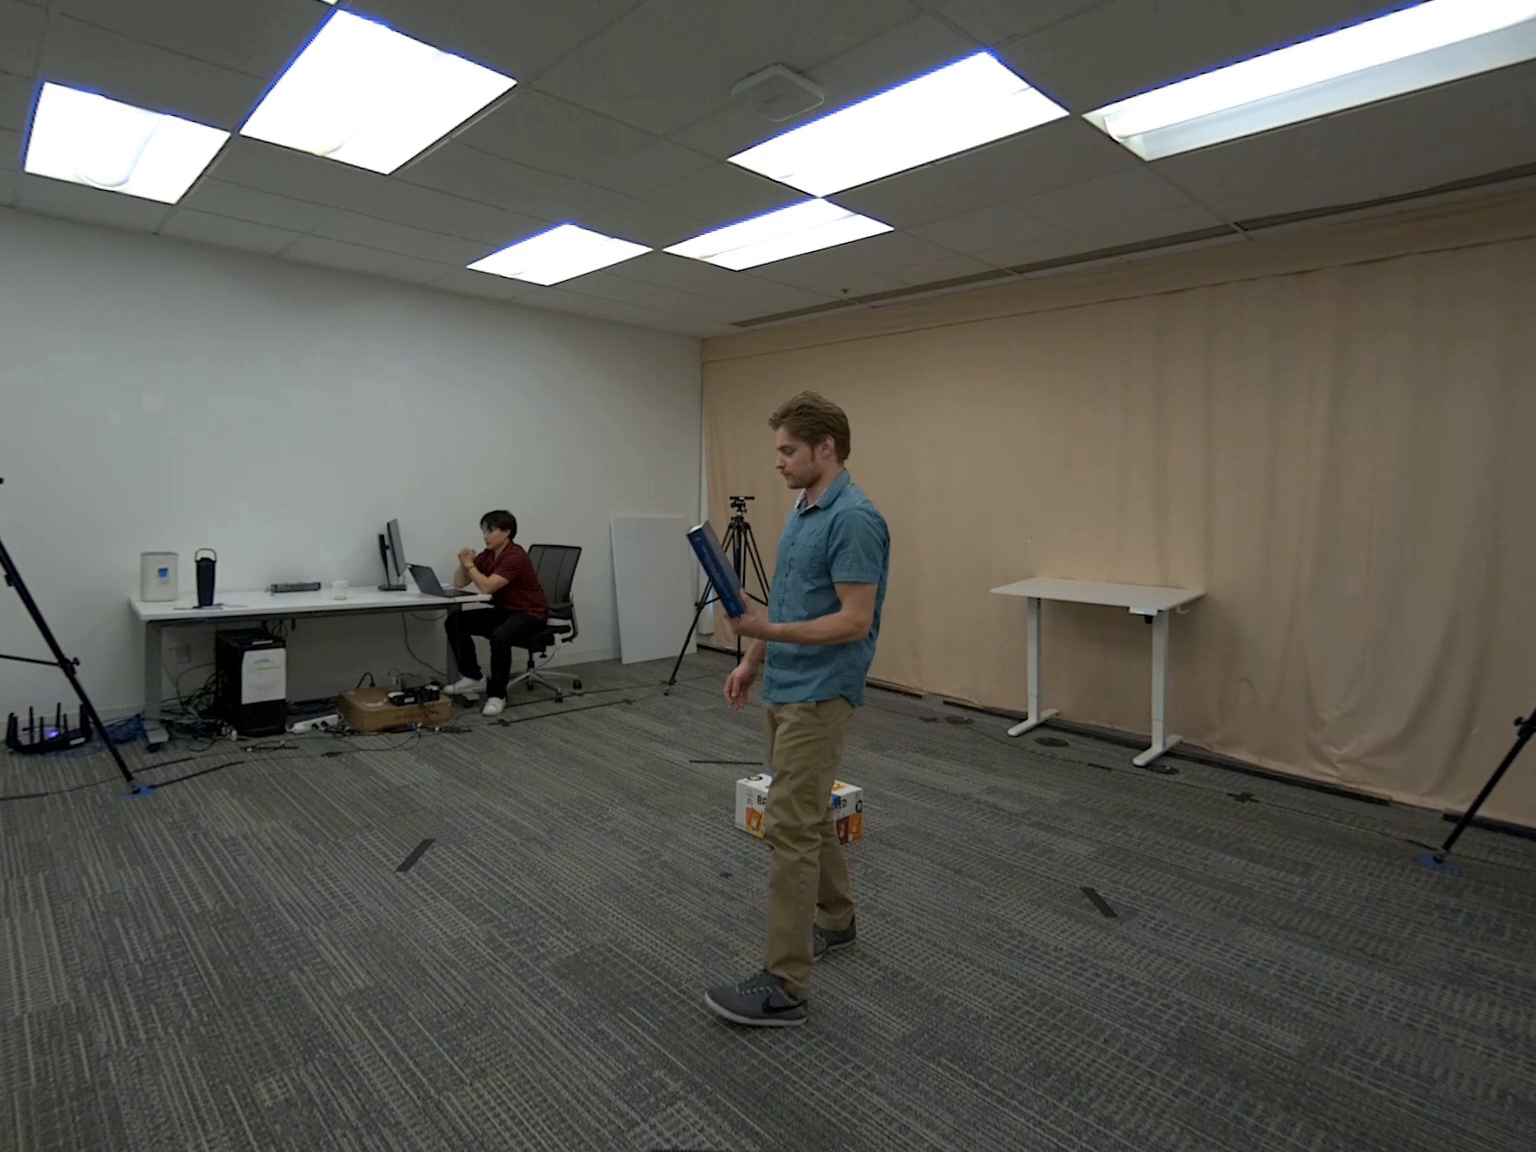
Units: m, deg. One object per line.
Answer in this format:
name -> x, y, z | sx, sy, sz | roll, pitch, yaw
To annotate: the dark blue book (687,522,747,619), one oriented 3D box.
dark blue book -> -0.132, -0.019, 2.183 | 0.045, 0.243, 0.164 | -25, 10, 6
